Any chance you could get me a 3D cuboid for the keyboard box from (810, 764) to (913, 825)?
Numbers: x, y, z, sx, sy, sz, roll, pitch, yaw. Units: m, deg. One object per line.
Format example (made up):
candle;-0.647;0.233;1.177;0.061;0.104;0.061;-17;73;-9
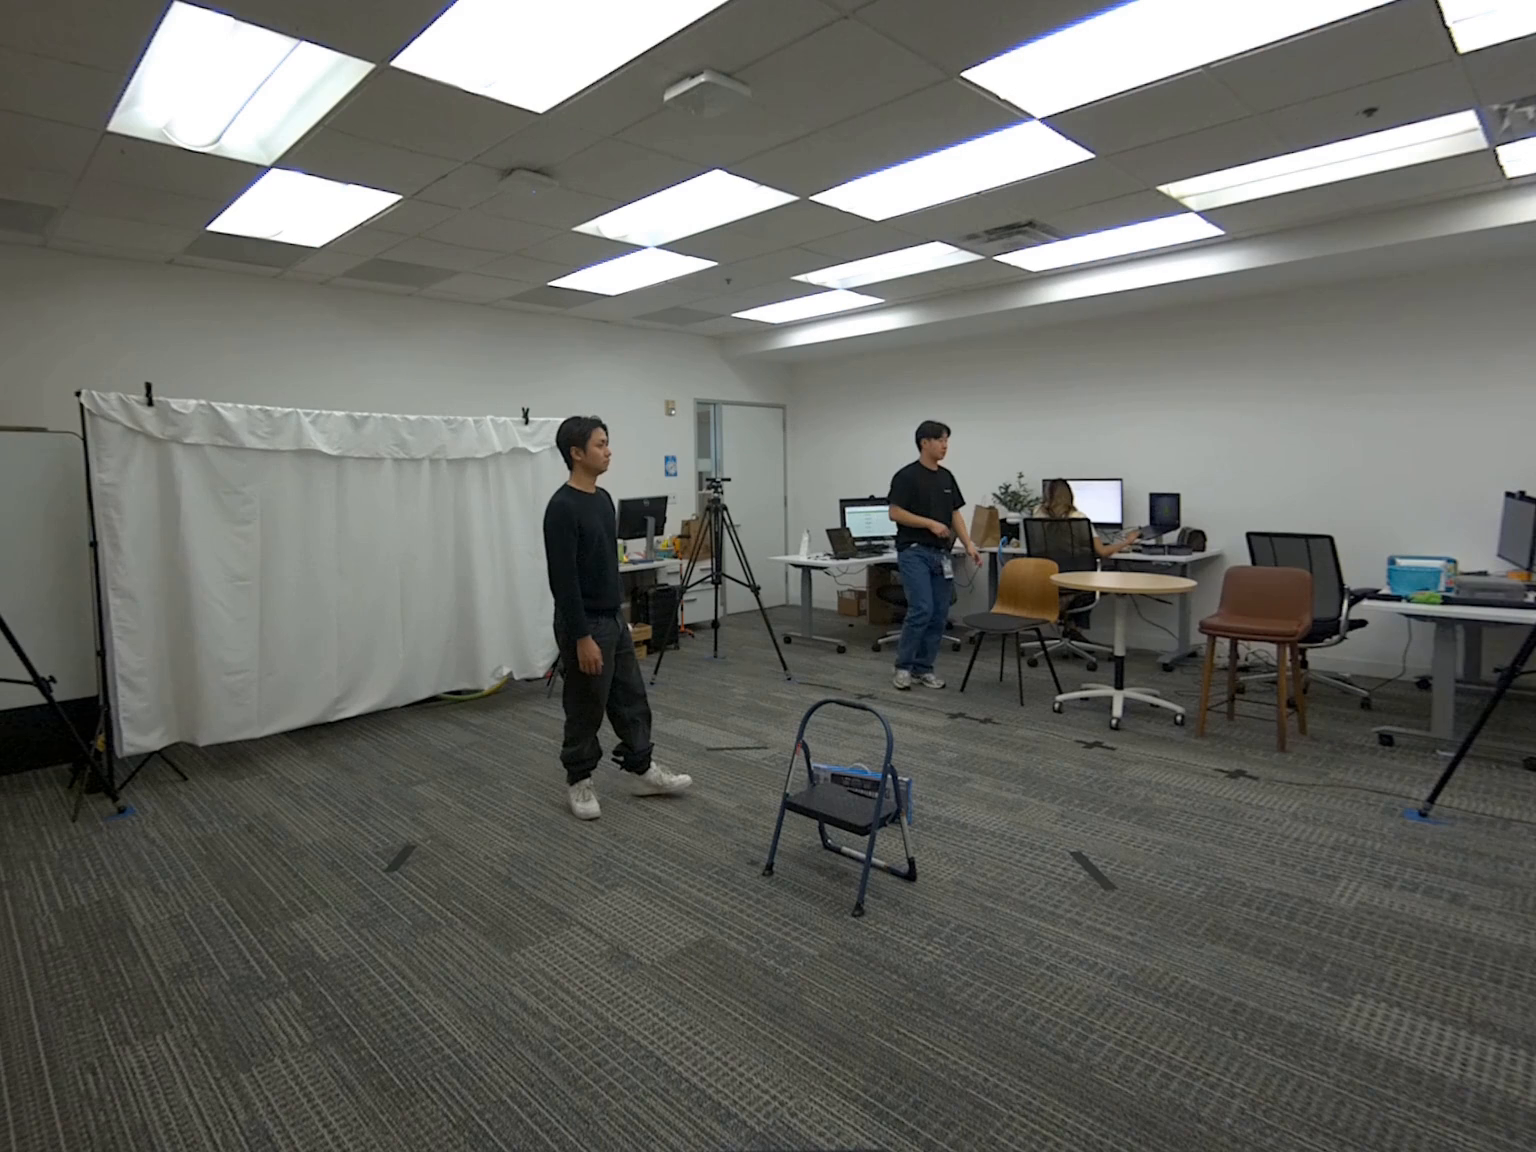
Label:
keyboard box;0.390;0.905;3.546;0.448;0.176;0.057;3;-1;29
